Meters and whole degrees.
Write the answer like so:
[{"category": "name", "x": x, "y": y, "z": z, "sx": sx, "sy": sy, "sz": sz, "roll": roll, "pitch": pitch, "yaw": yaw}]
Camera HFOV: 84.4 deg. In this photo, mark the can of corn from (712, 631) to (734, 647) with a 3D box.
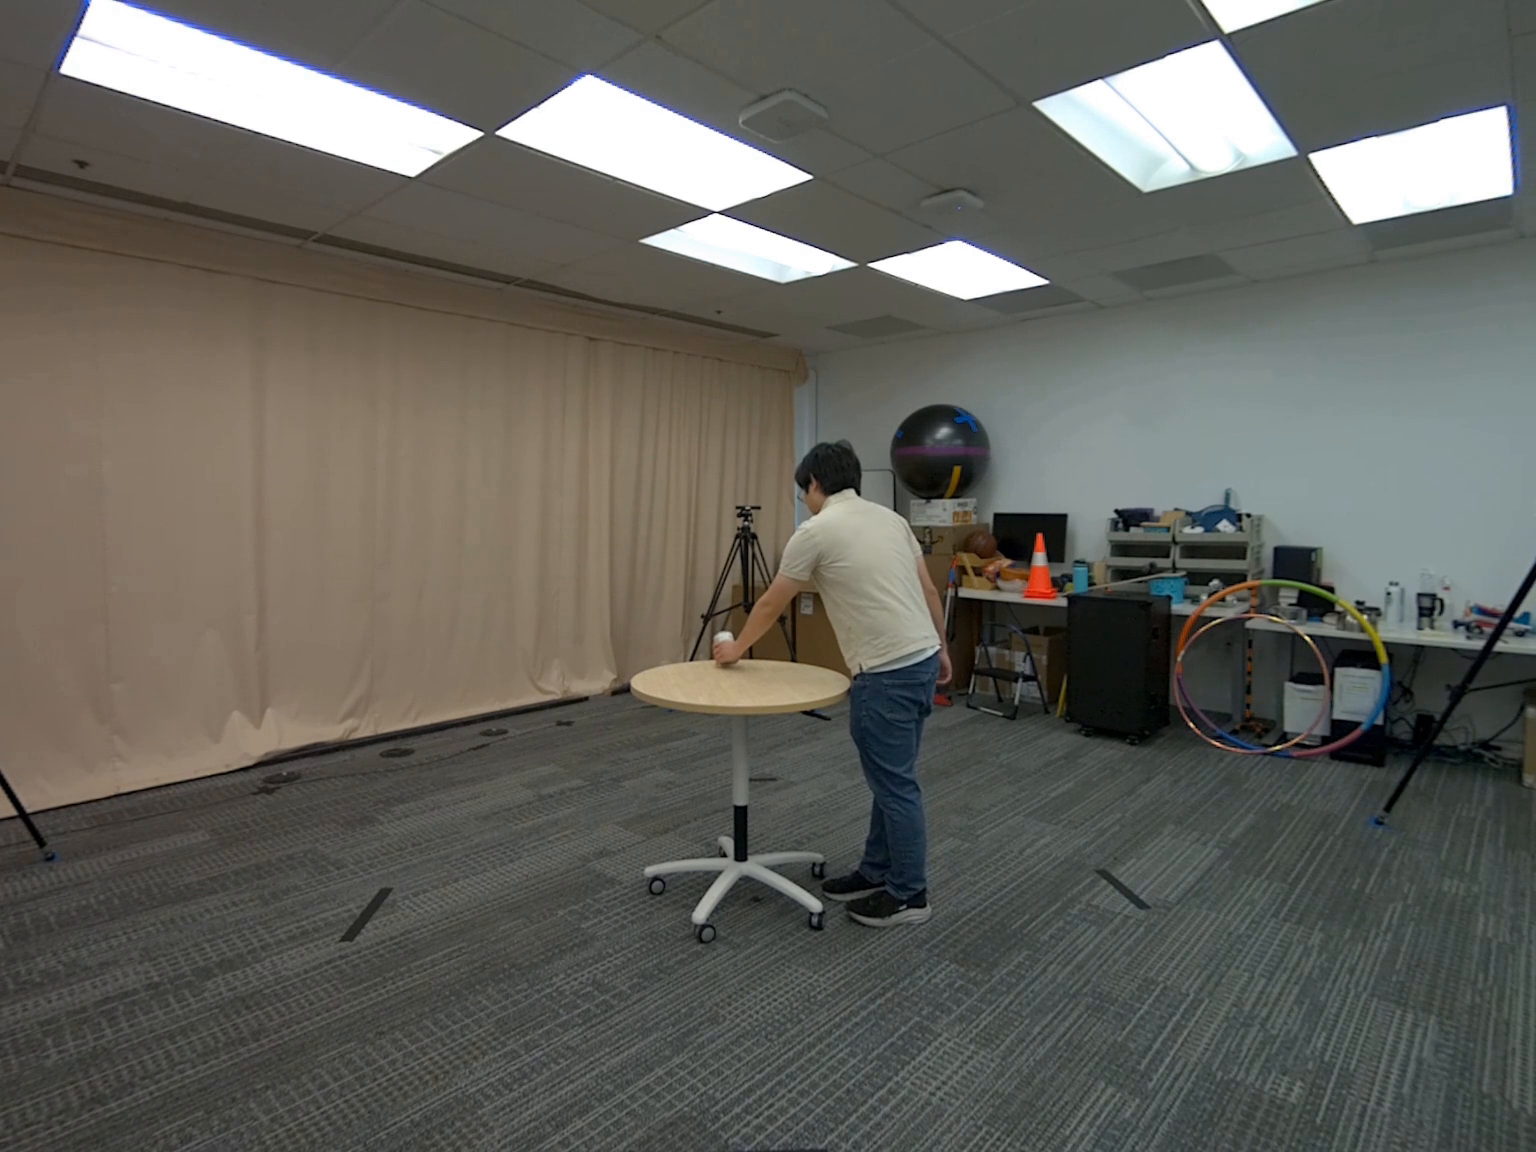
[{"category": "can of corn", "x": -0.155, "y": 0.278, "z": 3.186, "sx": 0.074, "sy": 0.112, "sz": 0.073, "roll": -4, "pitch": -16, "yaw": -3}]
